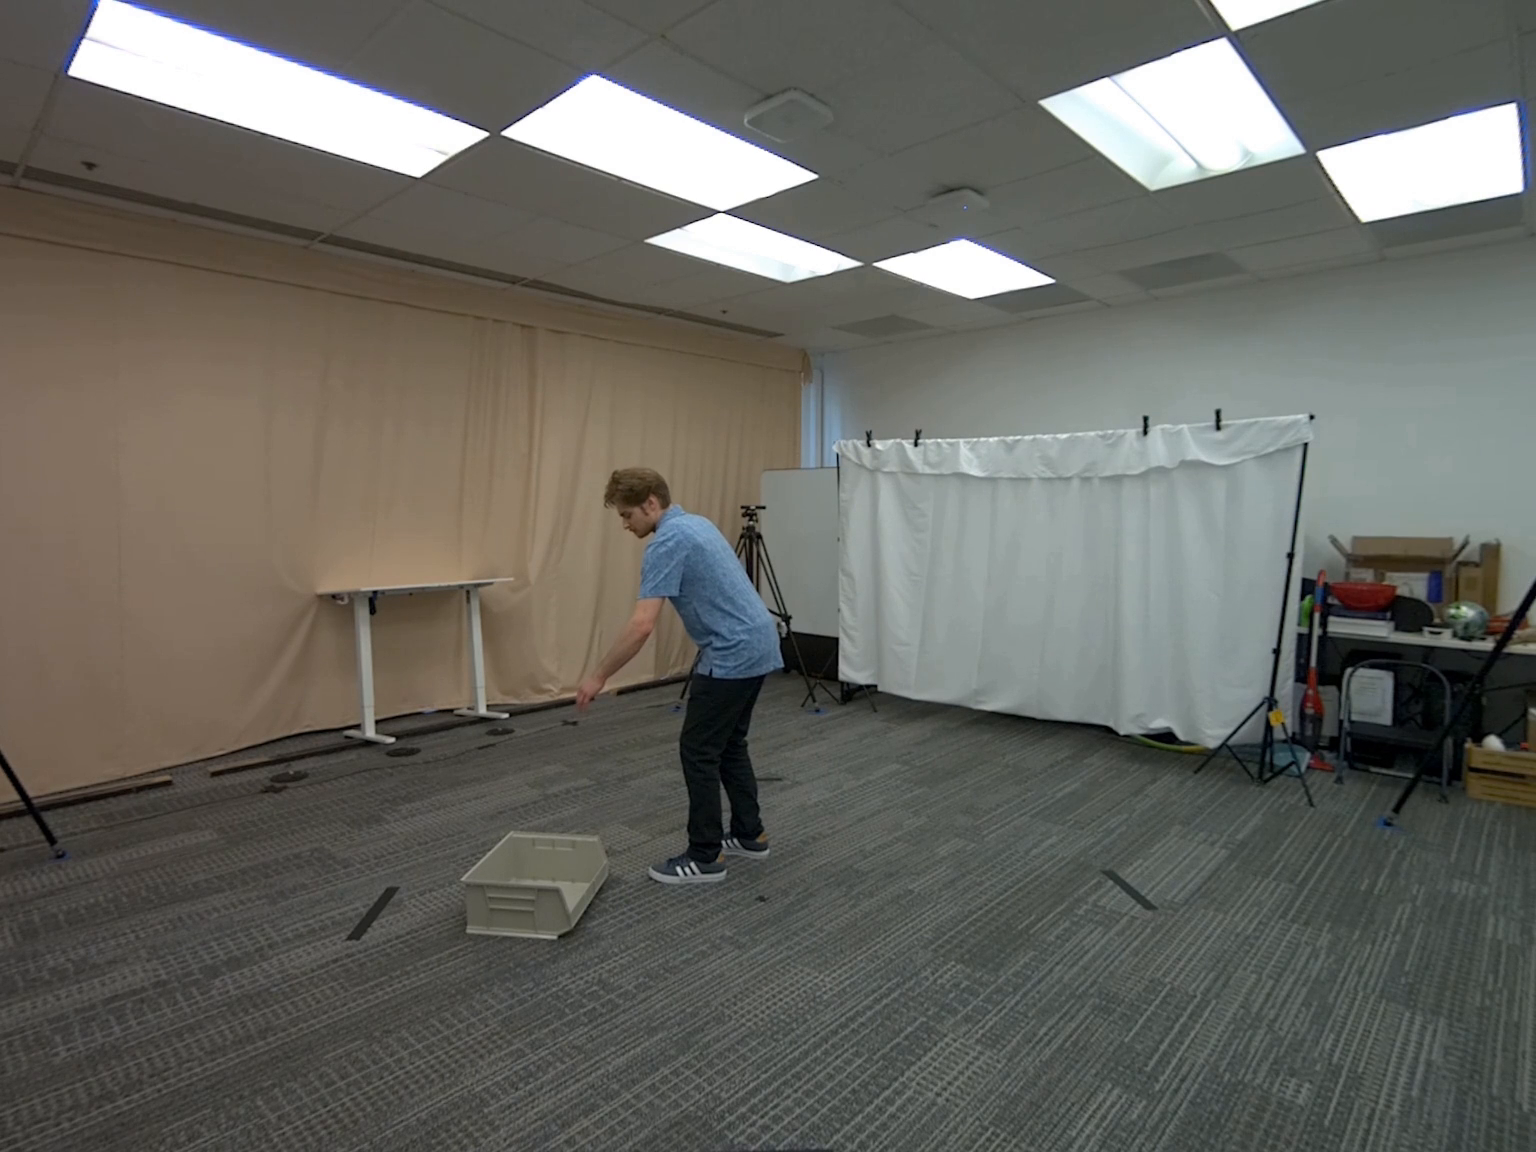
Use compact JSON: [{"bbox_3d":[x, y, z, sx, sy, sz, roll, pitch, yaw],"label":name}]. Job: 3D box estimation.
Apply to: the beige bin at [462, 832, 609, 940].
[{"bbox_3d":[-0.800,1.069,2.927,0.381,0.188,0.420,0,5,7],"label":"beige bin"}]
